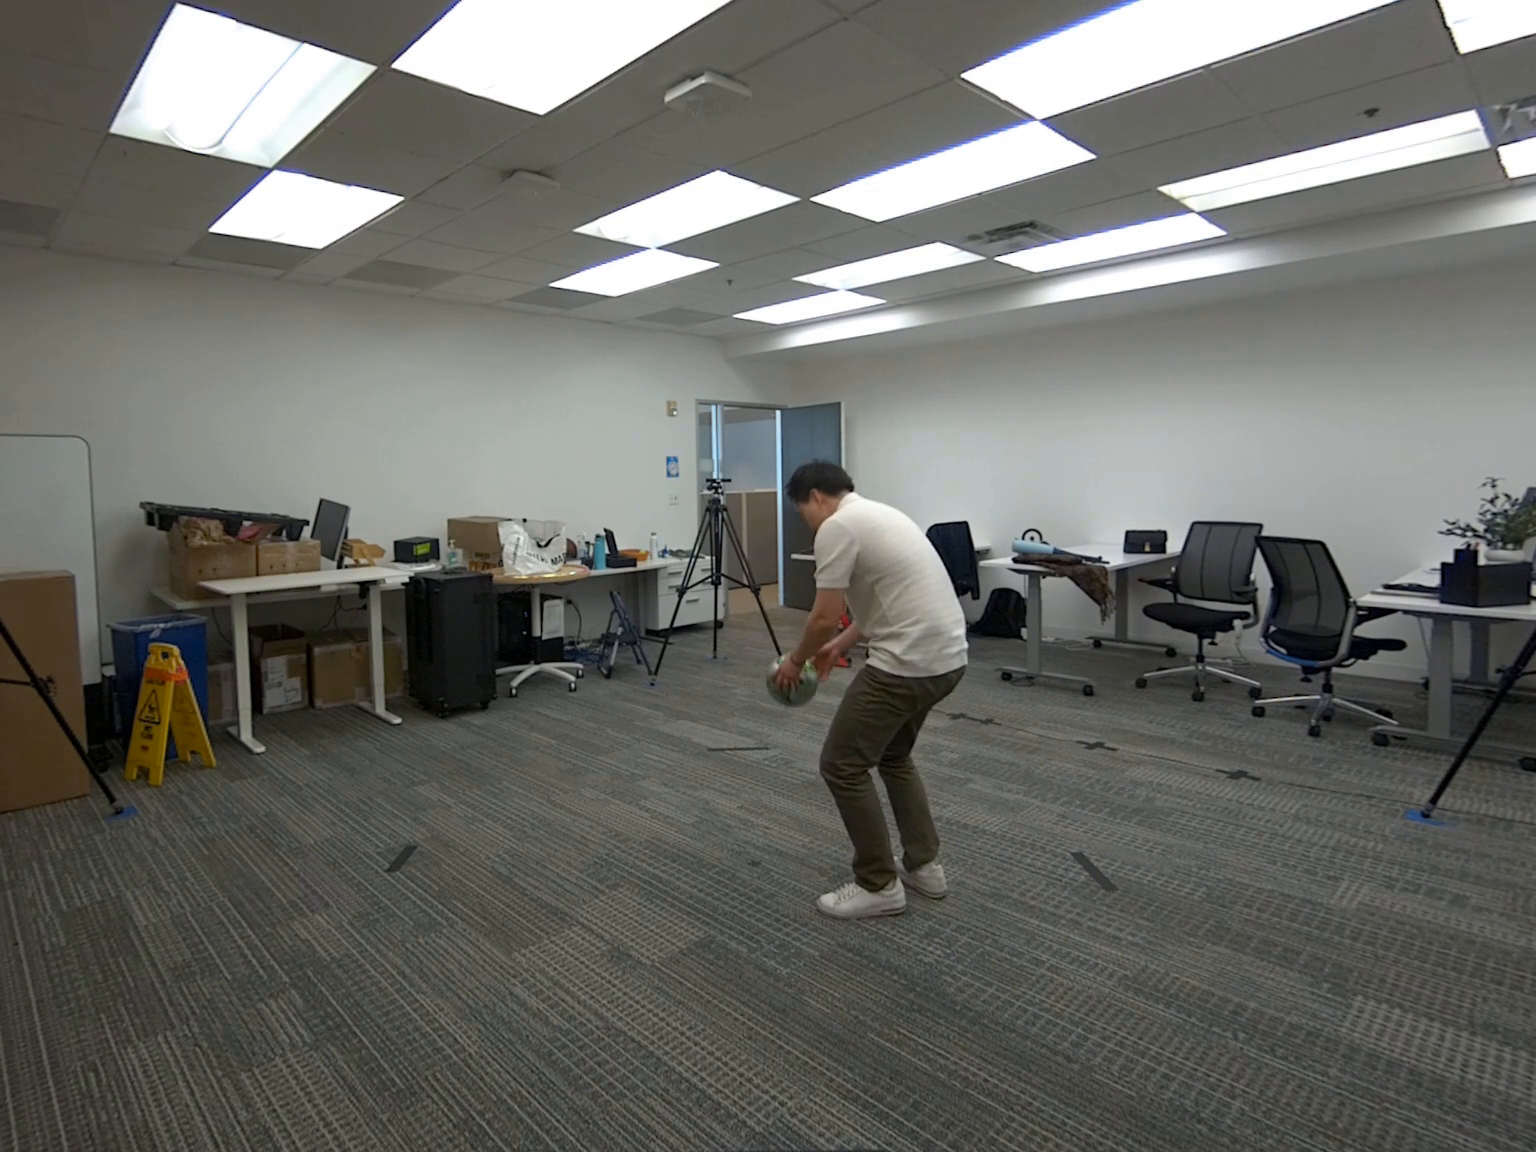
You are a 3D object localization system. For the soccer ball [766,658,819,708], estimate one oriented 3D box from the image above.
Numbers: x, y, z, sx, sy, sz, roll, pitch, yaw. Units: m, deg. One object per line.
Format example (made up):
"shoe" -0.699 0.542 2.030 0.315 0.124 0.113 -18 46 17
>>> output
"soccer ball" 0.102 0.416 3.065 0.187 0.187 0.188 -1 5 -2
